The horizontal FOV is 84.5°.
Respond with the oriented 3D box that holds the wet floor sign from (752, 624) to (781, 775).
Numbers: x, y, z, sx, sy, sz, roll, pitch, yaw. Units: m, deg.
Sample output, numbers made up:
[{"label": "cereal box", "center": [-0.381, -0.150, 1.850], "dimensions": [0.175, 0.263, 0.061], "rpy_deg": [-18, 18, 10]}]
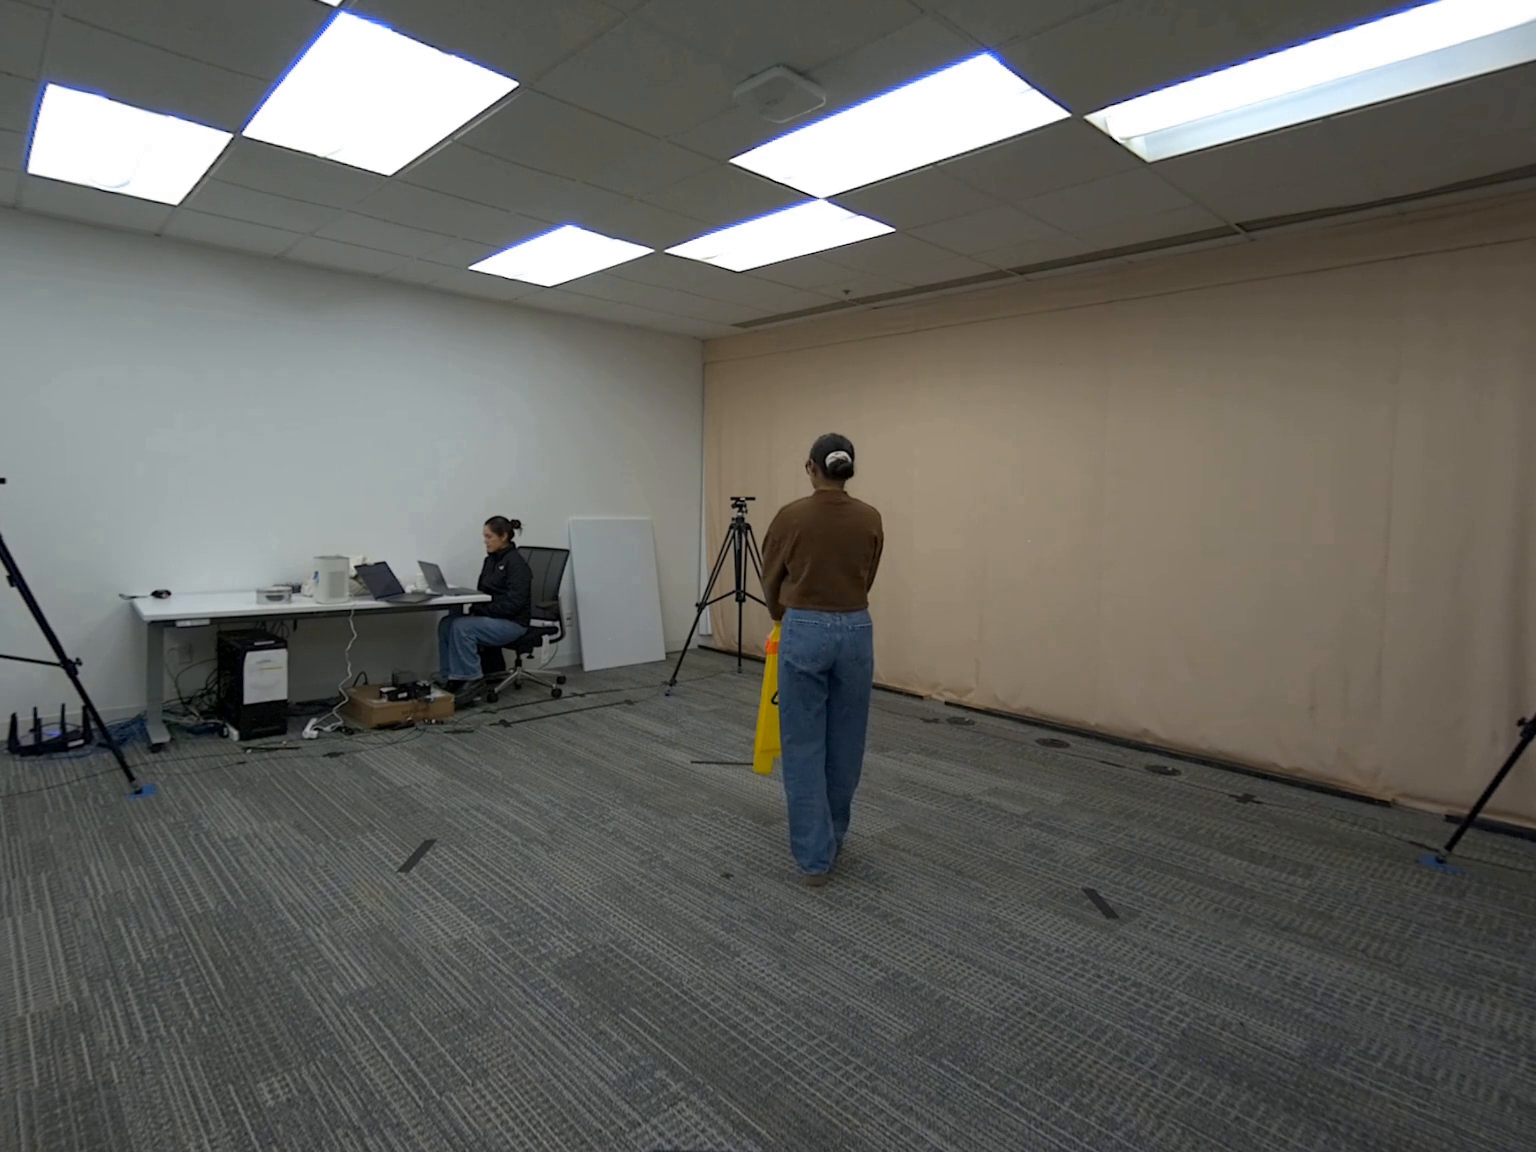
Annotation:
[{"label": "wet floor sign", "center": [0.098, 0.499, 3.600], "dimensions": [0.282, 0.644, 0.290], "rpy_deg": [5, 4, -1]}]
